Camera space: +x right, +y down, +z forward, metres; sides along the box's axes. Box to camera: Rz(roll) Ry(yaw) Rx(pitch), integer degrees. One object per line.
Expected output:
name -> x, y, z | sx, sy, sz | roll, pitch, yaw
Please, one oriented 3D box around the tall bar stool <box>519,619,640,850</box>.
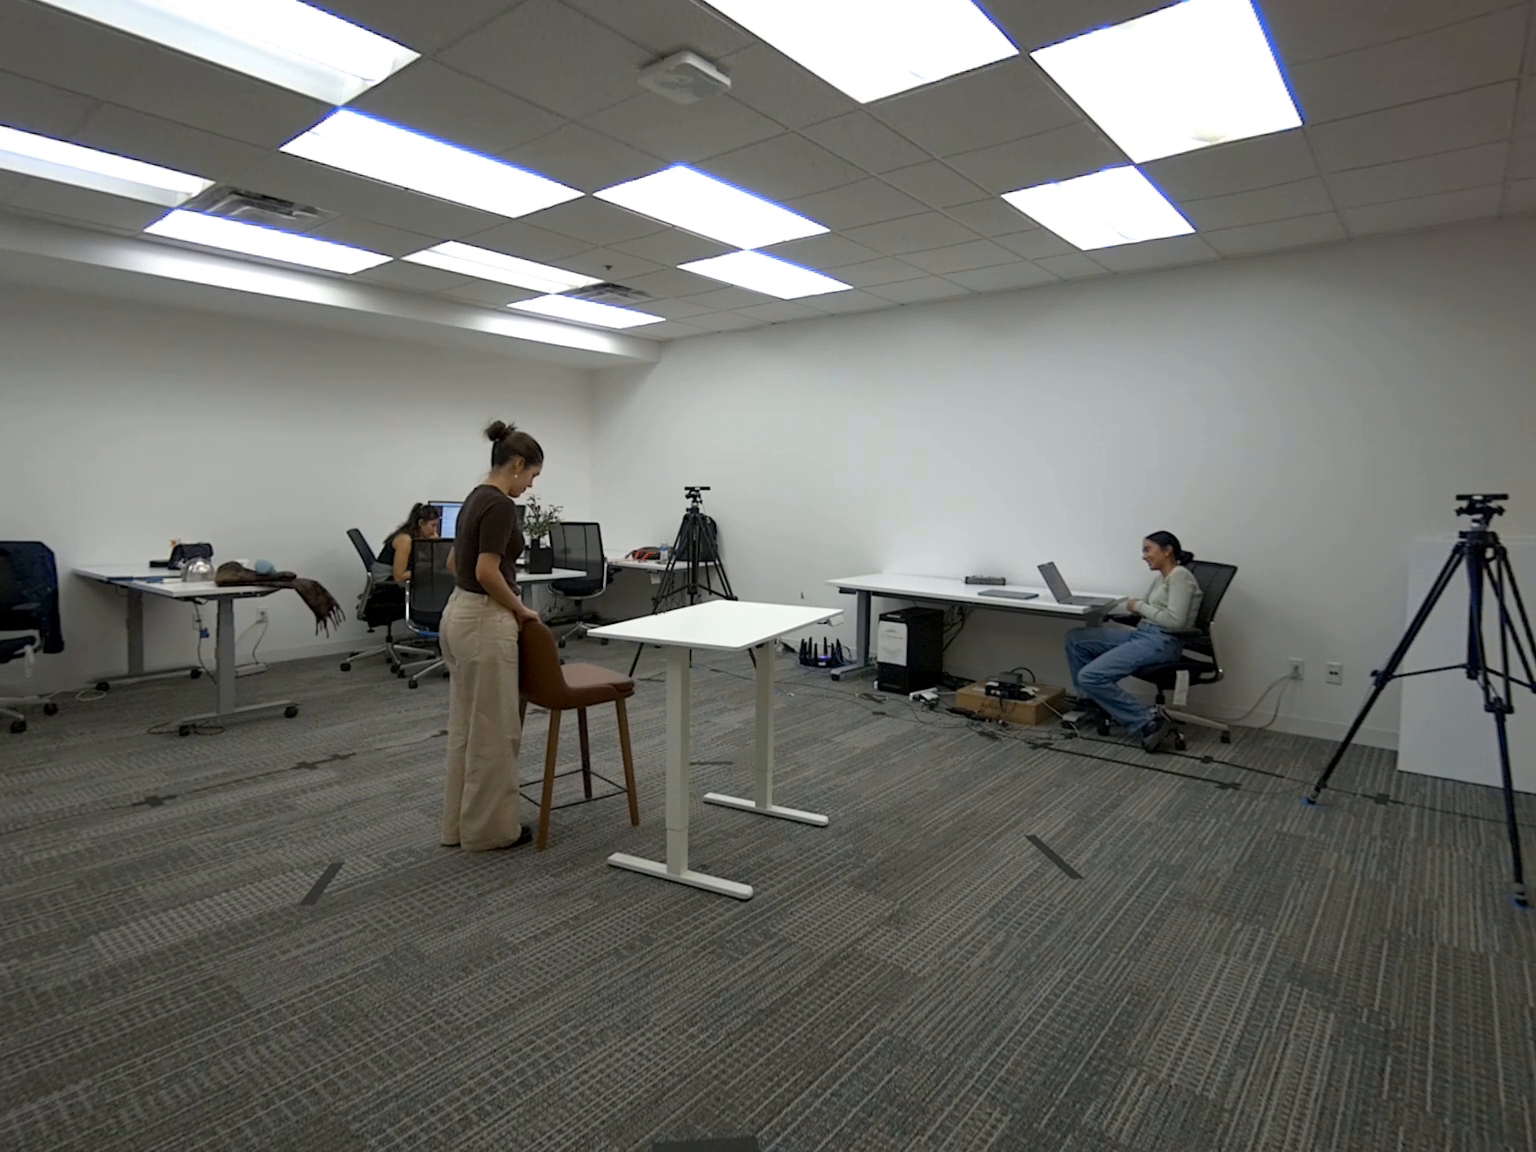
tall bar stool -> -0.838, 0.577, 3.484 | 0.454, 0.887, 0.472 | -3, 5, -42
